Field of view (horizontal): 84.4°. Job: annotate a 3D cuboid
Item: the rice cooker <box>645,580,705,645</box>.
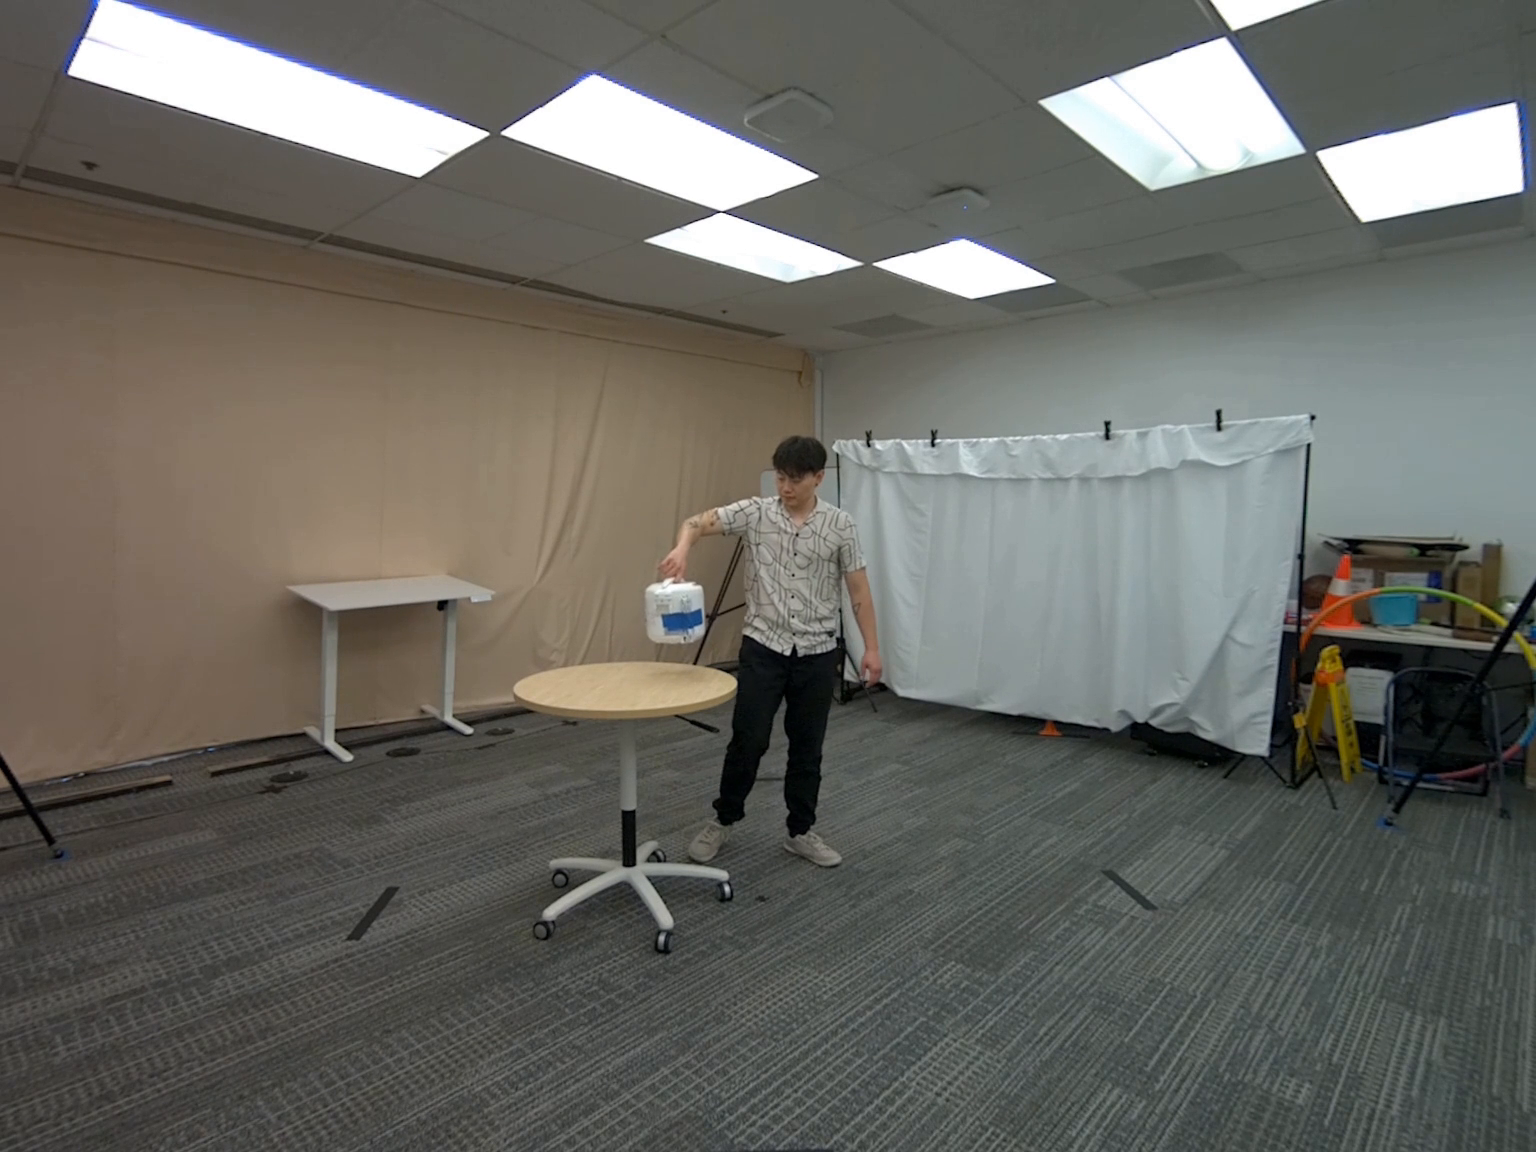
[{"bbox_3d":[-0.333,0.117,3.019,0.222,0.232,0.216,0,2,19],"label":"rice cooker"}]
